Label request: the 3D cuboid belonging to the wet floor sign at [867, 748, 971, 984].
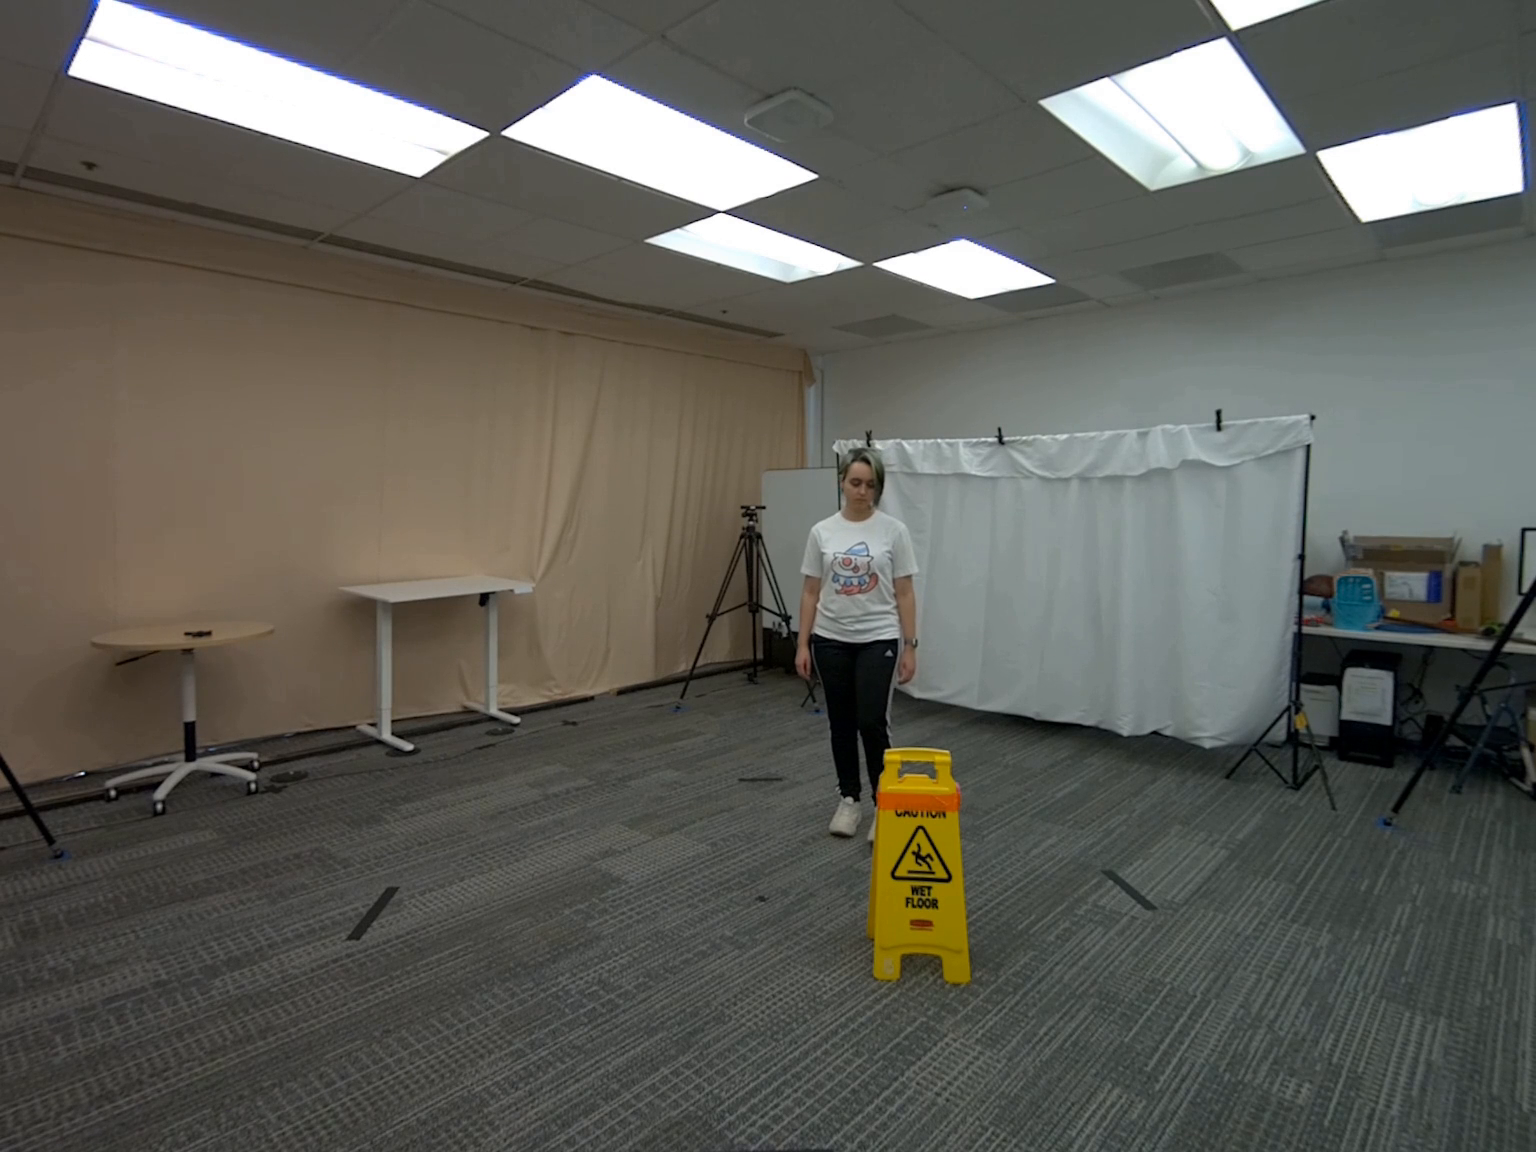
[{"bbox_3d":[0.470,0.849,2.571,0.283,0.645,0.289,2,4,2],"label":"wet floor sign"}]
